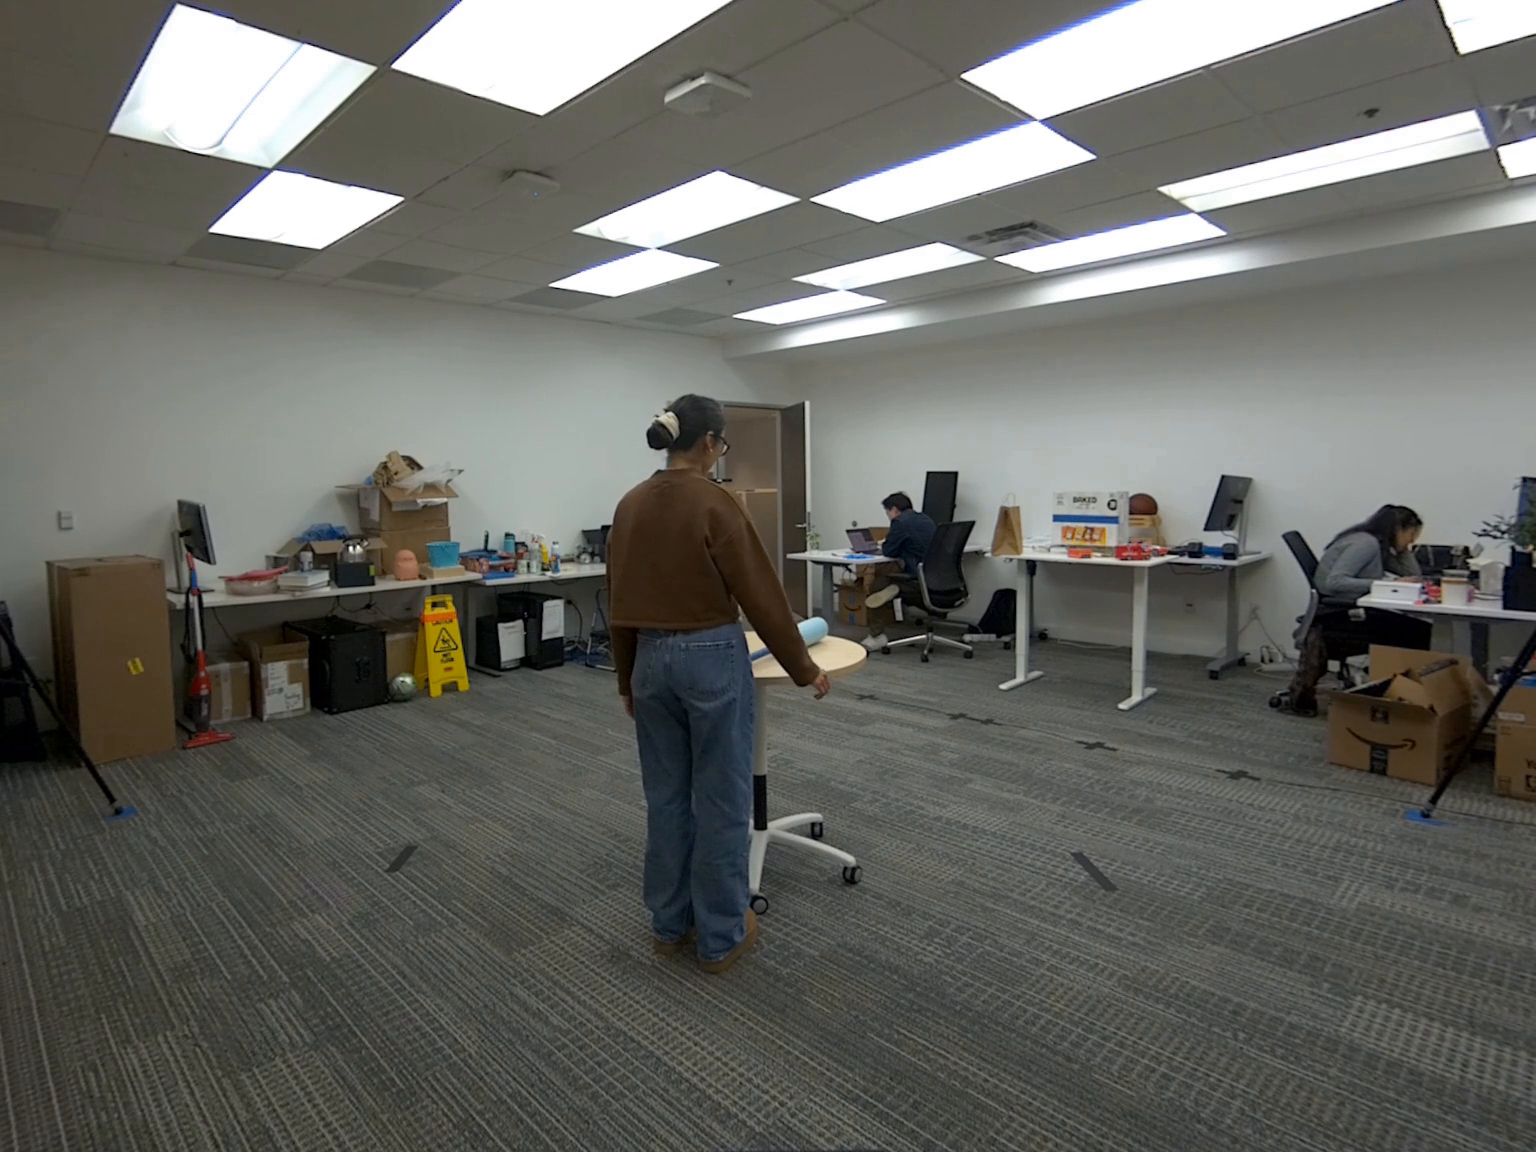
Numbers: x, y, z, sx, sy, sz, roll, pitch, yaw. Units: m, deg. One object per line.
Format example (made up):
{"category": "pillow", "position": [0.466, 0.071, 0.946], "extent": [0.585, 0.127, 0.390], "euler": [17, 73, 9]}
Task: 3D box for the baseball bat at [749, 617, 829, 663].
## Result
{"category": "baseball bat", "position": [0.059, 0.240, 2.977], "extent": [0.091, 0.088, 0.532], "euler": [2, 10, 30]}
